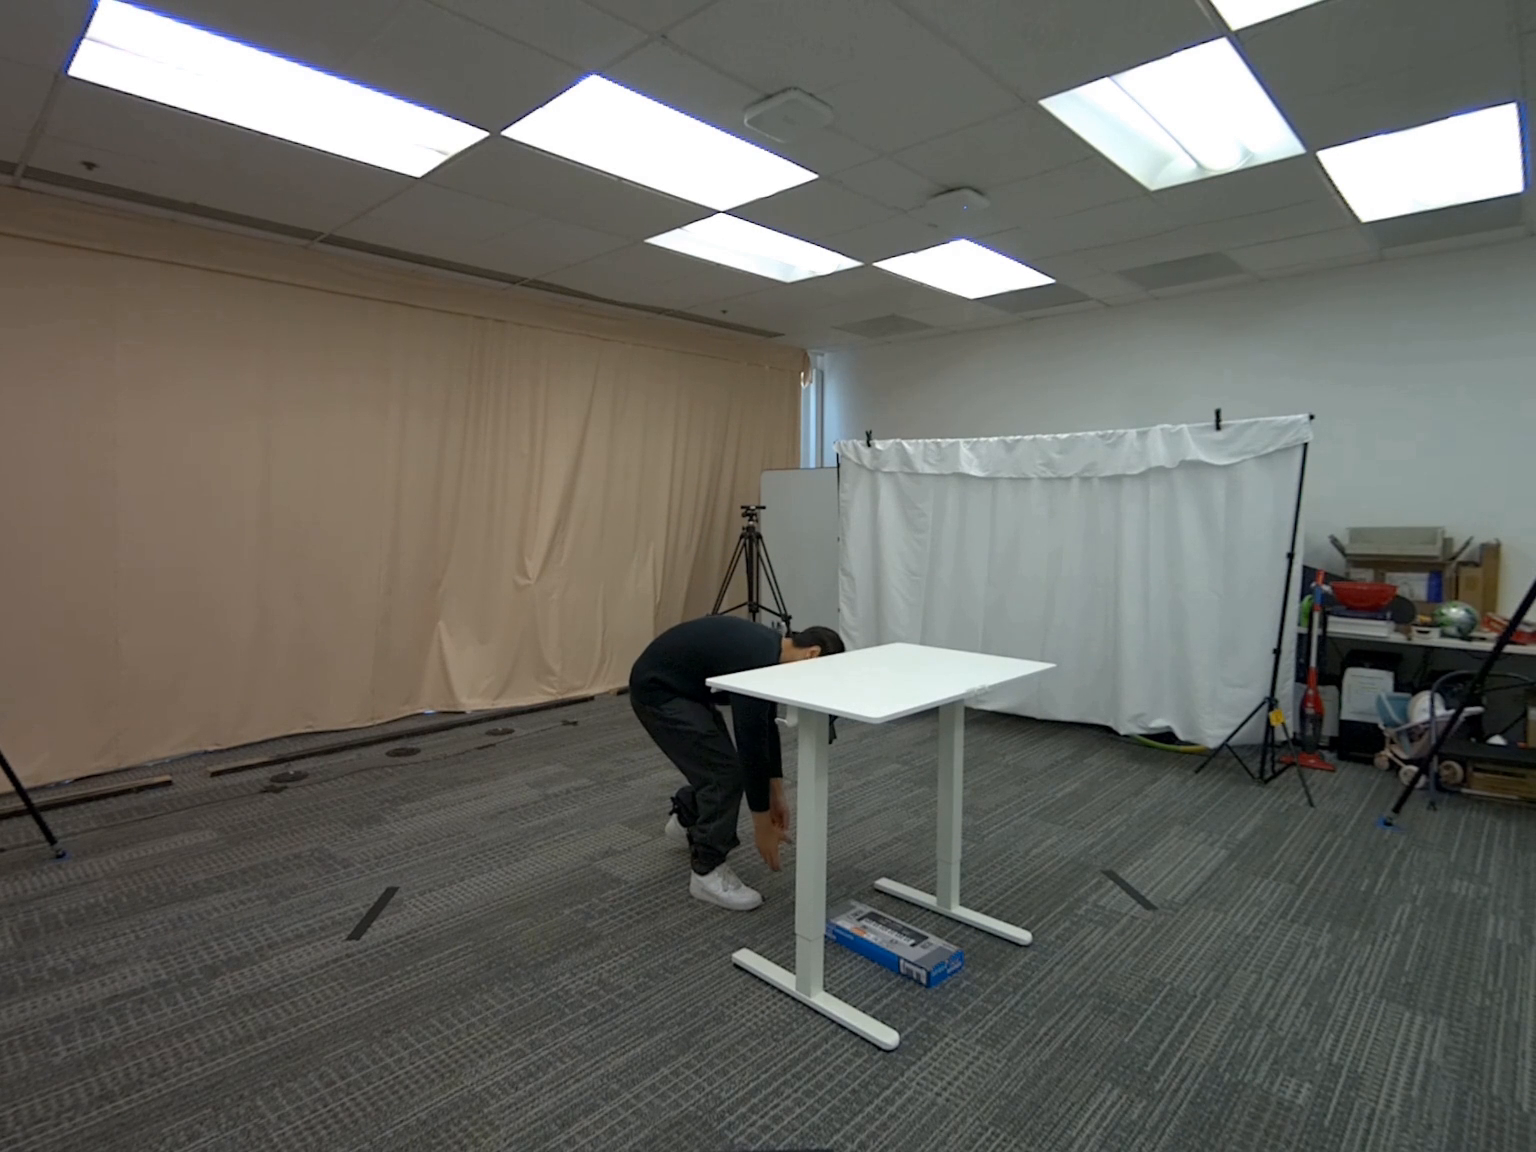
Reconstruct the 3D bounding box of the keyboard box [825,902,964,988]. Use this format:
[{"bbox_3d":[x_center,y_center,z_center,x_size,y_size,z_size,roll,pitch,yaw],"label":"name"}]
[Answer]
[{"bbox_3d":[0.375,1.142,2.636,0.171,0.059,0.451,-6,7,-42],"label":"keyboard box"}]
